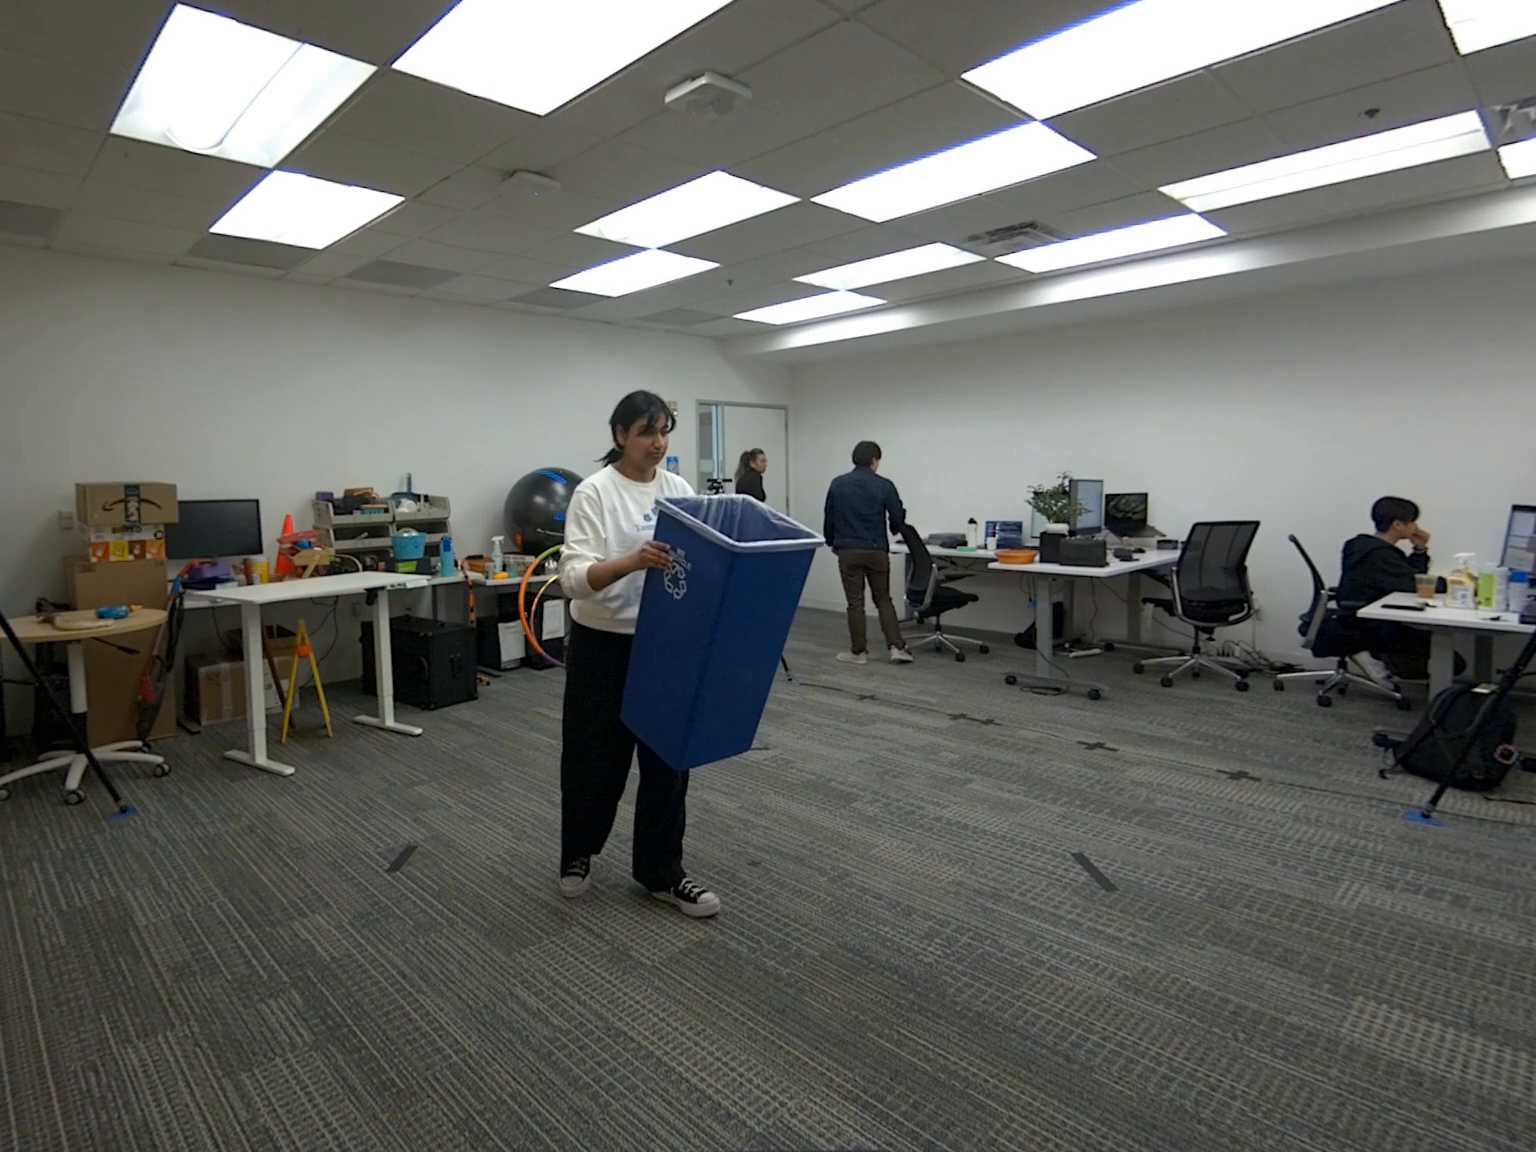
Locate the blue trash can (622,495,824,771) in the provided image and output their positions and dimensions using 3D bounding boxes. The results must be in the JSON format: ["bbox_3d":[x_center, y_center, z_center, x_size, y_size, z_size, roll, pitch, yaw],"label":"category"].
[{"bbox_3d":[-0.157,0.161,2.497,0.368,0.706,0.388,-5,25,-46],"label":"blue trash can"}]
